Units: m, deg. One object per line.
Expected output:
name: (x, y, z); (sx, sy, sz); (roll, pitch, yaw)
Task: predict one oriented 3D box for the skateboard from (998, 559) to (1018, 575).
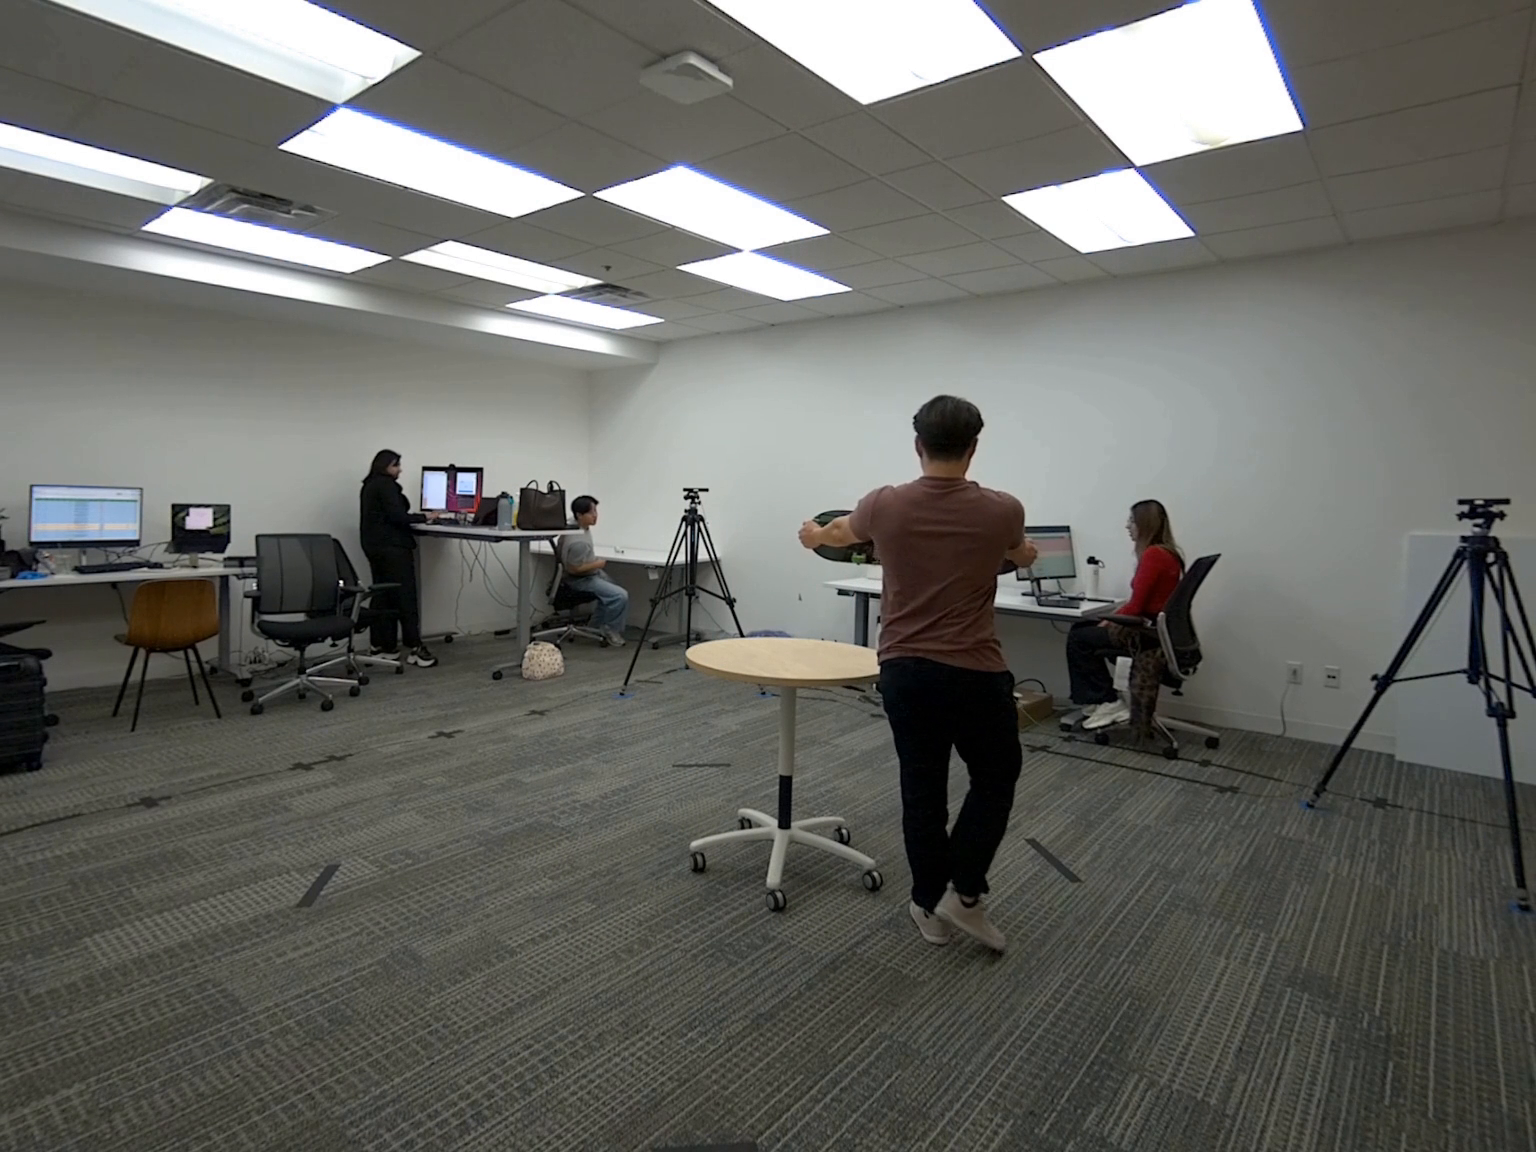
skateboard: (0.519, -0.118, 3.046); (0.795, 0.192, 0.109); (6, 6, 10)
